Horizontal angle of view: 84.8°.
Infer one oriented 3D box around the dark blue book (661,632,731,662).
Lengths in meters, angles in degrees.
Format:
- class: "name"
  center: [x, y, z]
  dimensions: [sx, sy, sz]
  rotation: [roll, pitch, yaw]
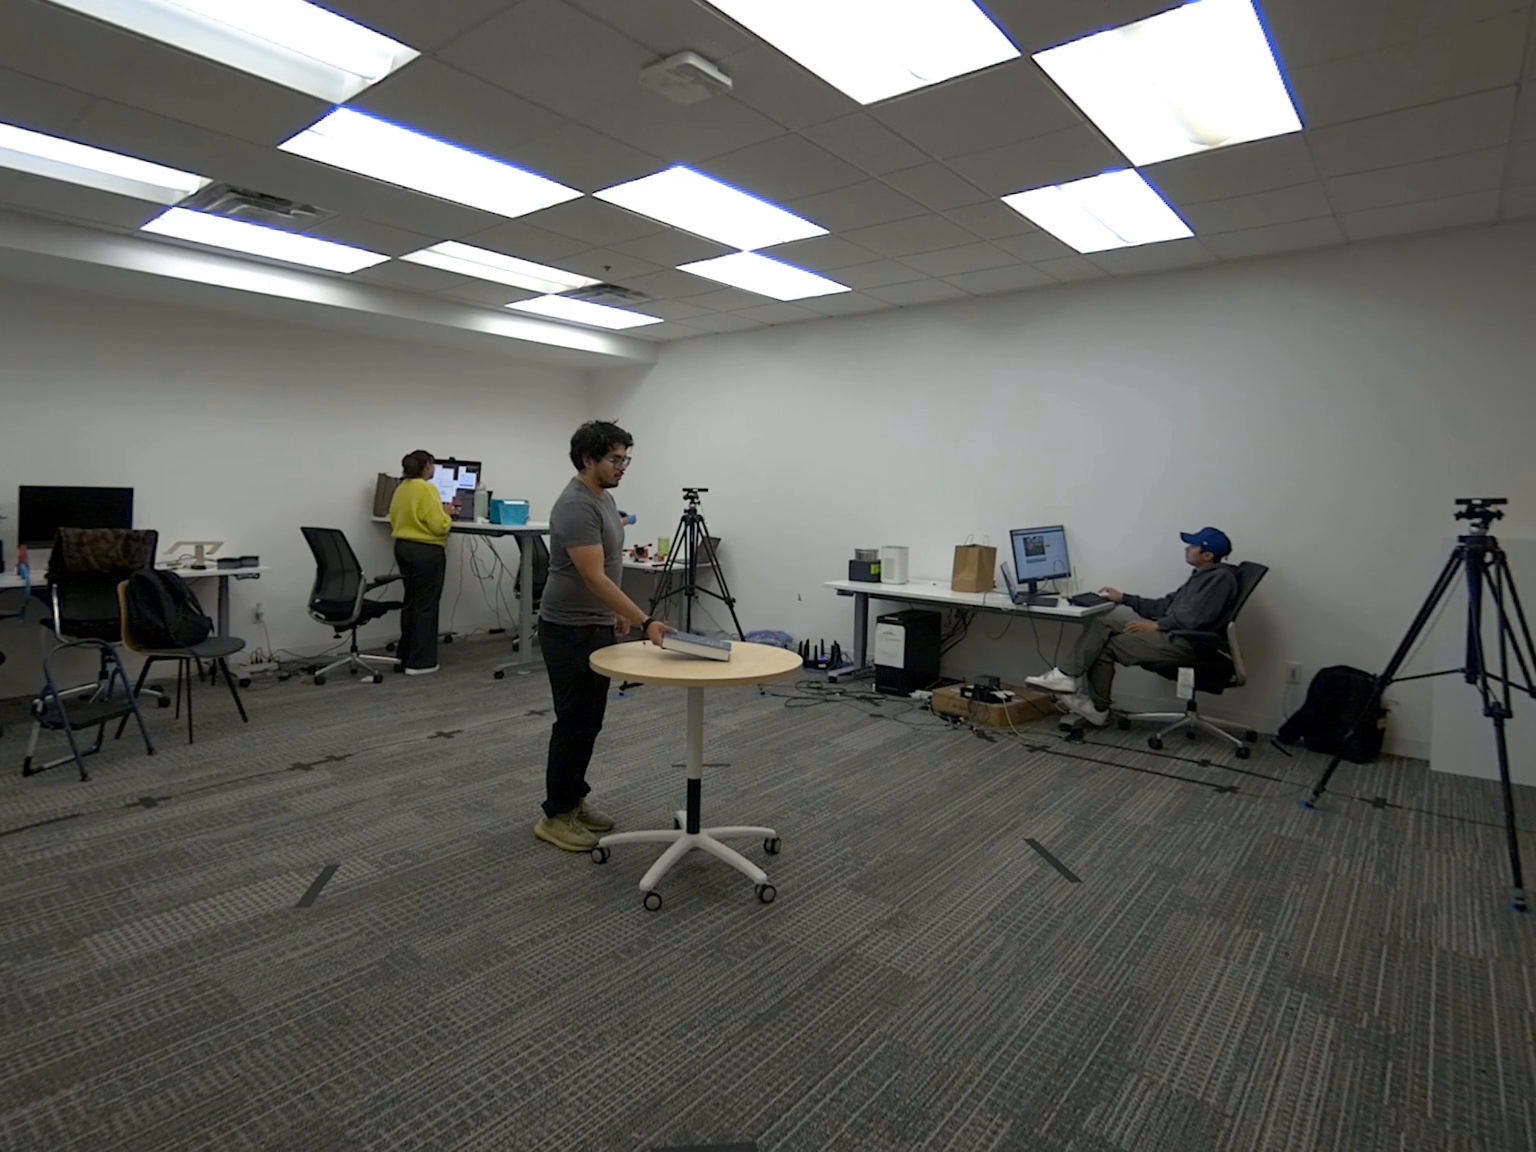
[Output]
- class: "dark blue book"
  center: [-0.256, 0.251, 3.068]
  dimensions: [0.245, 0.045, 0.164]
  rotation: [10, 4, -2]
